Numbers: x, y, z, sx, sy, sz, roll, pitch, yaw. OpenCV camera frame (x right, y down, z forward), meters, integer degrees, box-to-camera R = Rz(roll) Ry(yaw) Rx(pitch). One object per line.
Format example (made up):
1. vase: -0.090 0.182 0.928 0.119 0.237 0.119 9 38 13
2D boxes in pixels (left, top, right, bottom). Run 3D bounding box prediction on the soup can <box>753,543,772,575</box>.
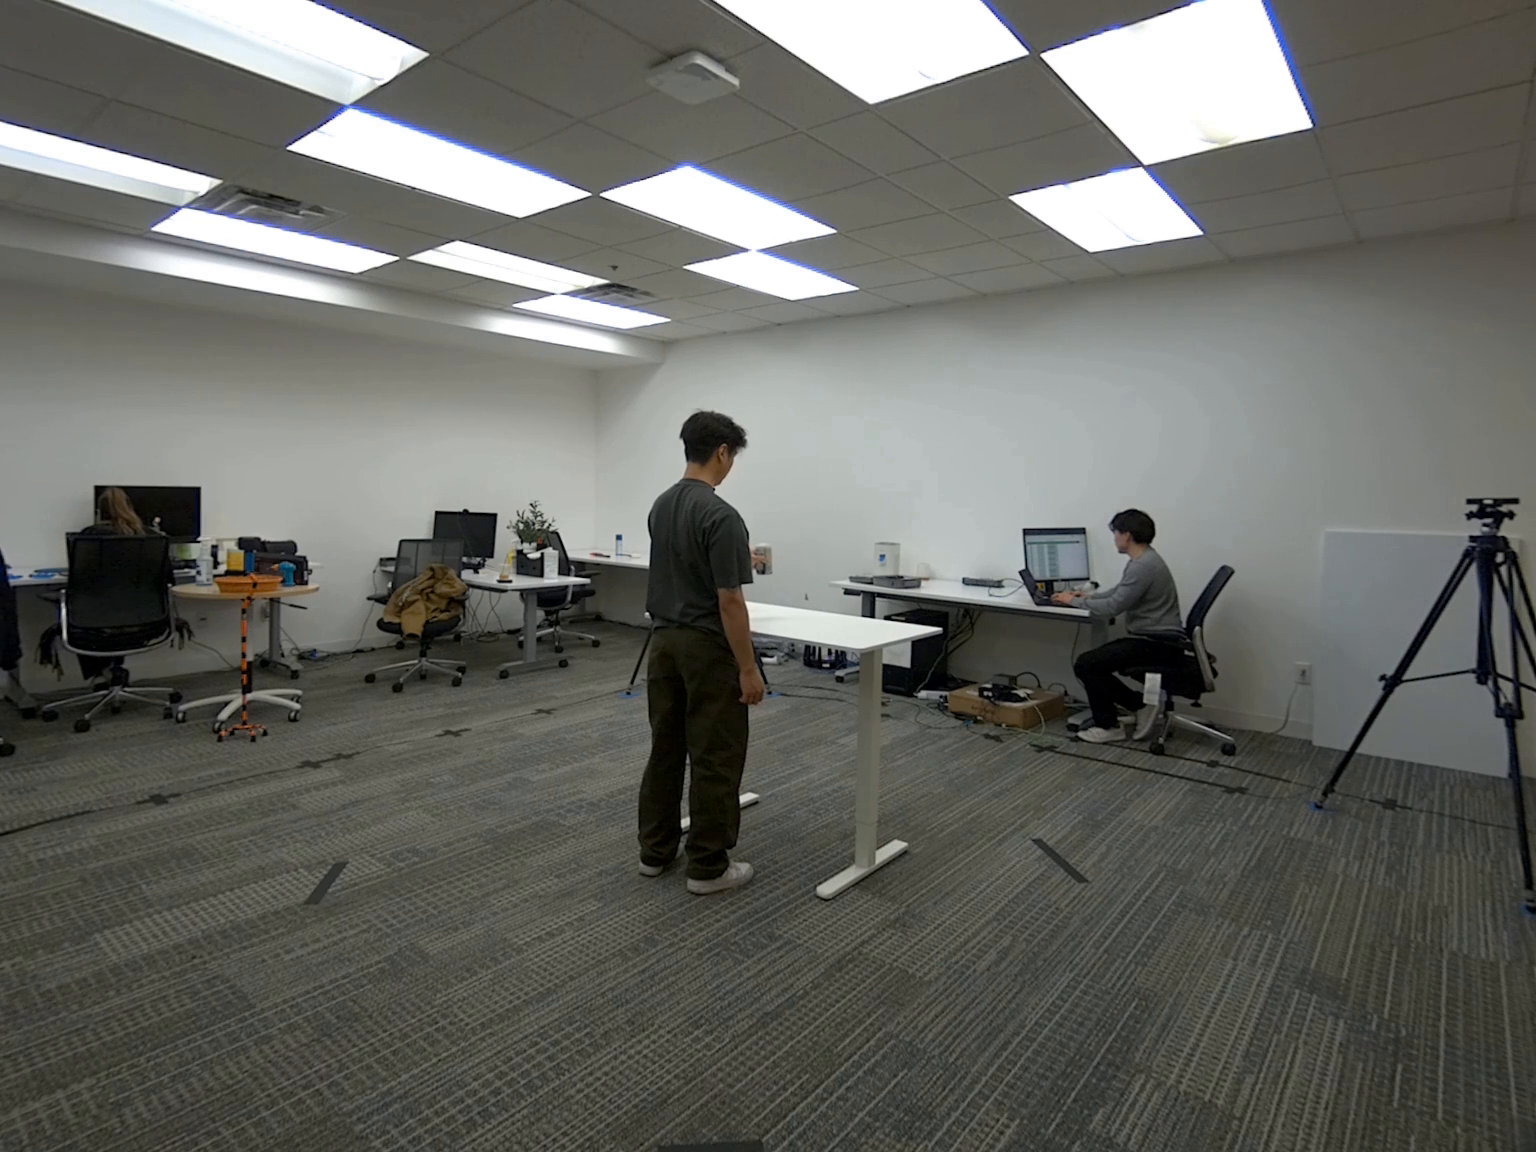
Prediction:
1. soup can: -0.025 -0.073 3.428 0.067 0.121 0.067 1 3 -2
